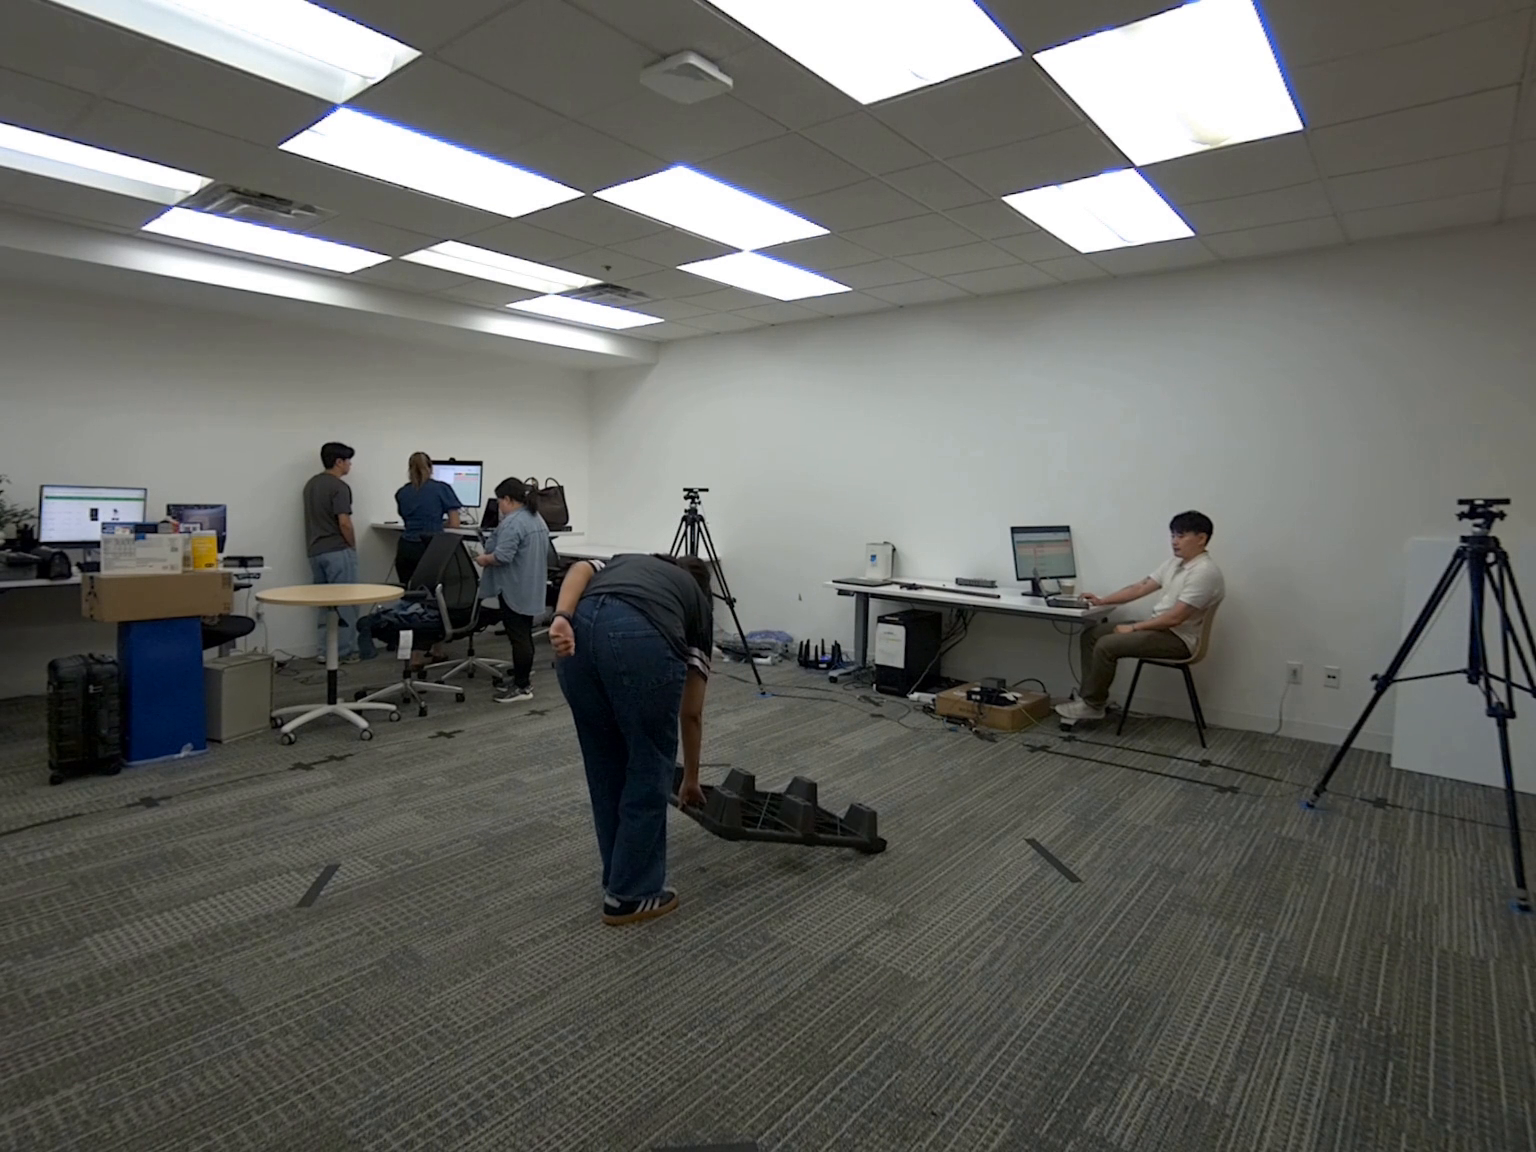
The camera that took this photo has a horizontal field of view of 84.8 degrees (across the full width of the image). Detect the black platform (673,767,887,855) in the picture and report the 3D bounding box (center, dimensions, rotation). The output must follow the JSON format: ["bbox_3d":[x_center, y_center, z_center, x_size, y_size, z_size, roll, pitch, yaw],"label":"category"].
[{"bbox_3d":[-0.014,0.885,3.343,0.777,0.144,0.625,16,-5,-35],"label":"black platform"}]
